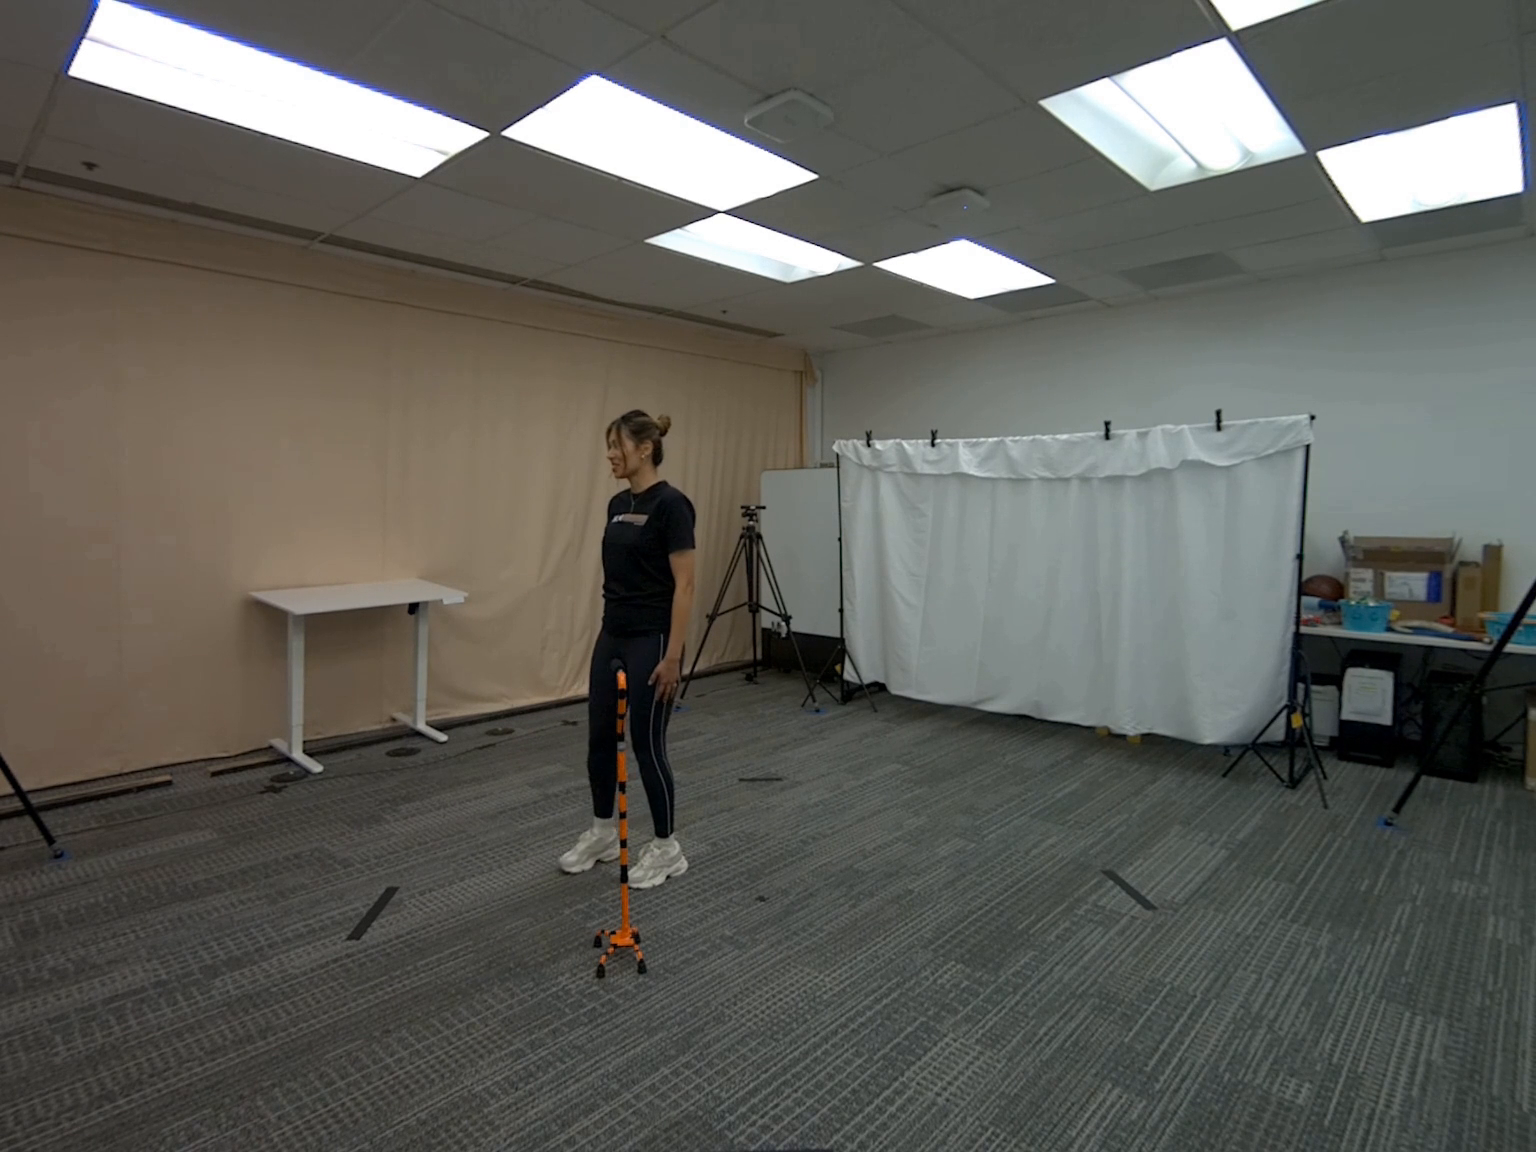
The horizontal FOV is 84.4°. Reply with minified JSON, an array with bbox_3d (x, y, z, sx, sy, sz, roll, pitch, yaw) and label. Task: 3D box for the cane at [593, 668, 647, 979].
[{"bbox_3d":[-0.458,0.719,2.573,0.149,0.906,0.210,0,2,-14],"label":"cane"}]
